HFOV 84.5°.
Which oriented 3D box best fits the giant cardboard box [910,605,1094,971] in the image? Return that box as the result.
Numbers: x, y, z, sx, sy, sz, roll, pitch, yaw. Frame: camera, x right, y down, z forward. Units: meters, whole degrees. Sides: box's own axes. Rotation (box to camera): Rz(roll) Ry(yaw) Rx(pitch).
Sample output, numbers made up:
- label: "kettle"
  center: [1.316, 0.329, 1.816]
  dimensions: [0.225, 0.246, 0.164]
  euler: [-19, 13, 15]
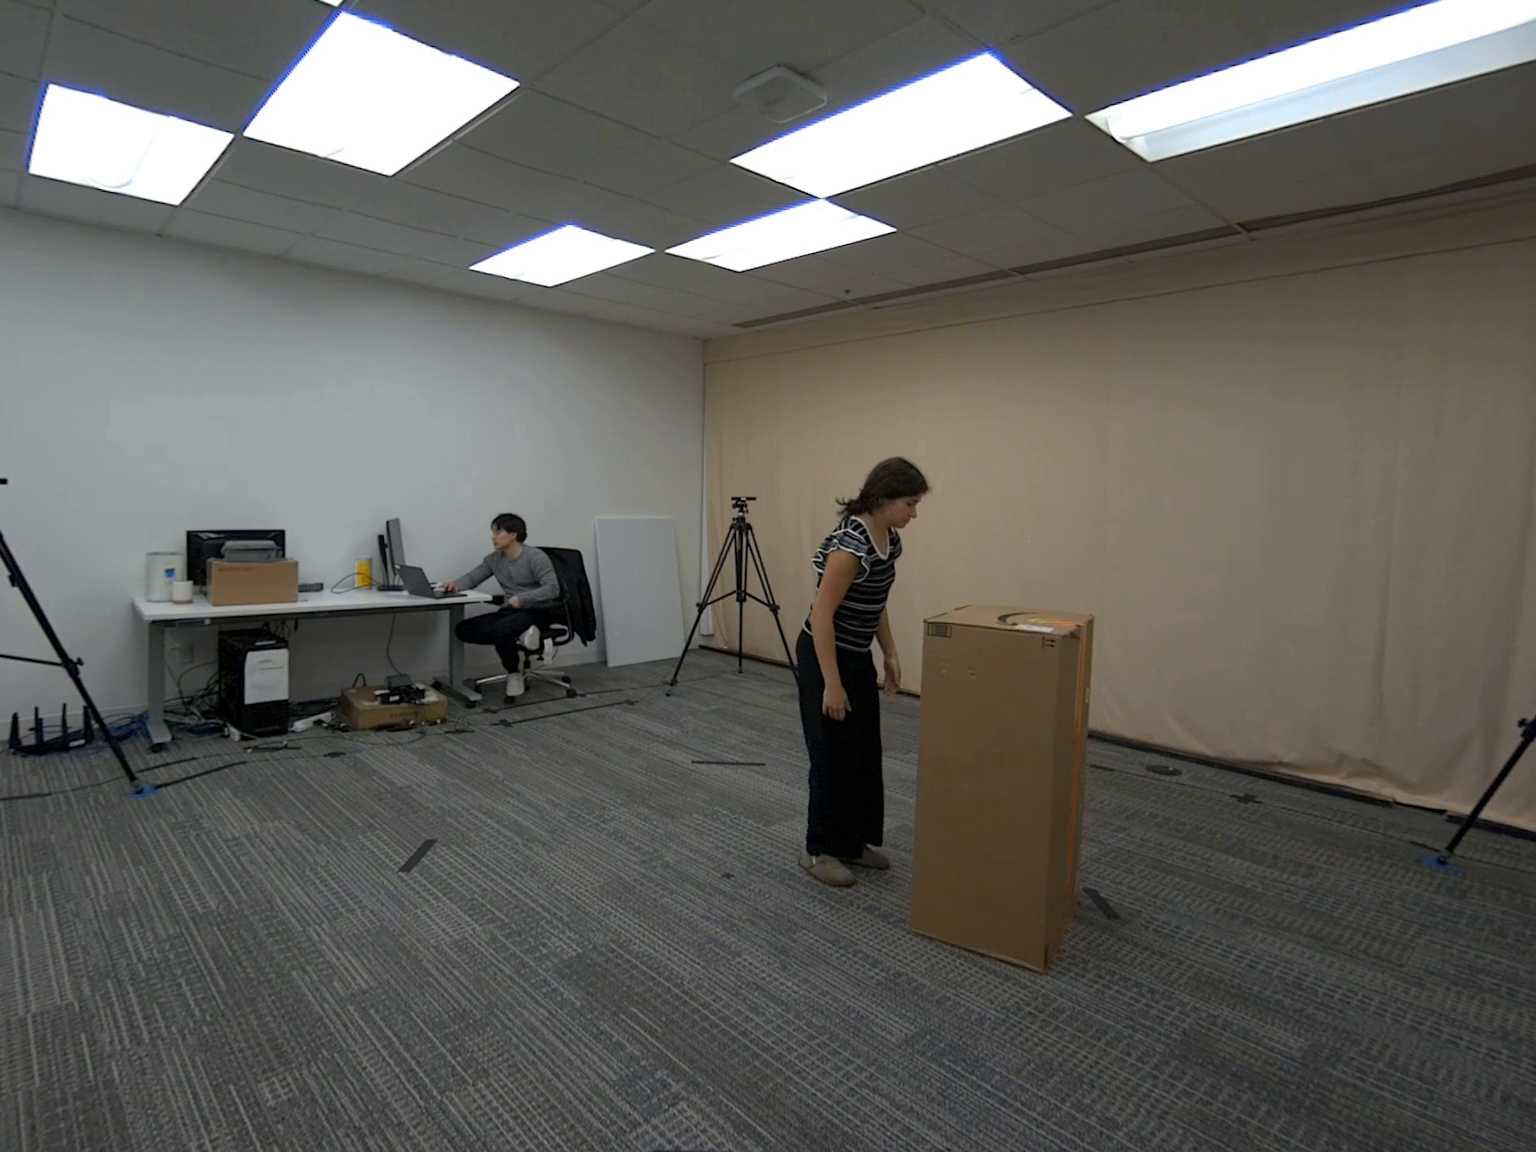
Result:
- label: "giant cardboard box"
  center: [0.795, 0.645, 2.825]
  dimensions: [0.436, 1.024, 0.566]
  euler: [3, 3, 31]
